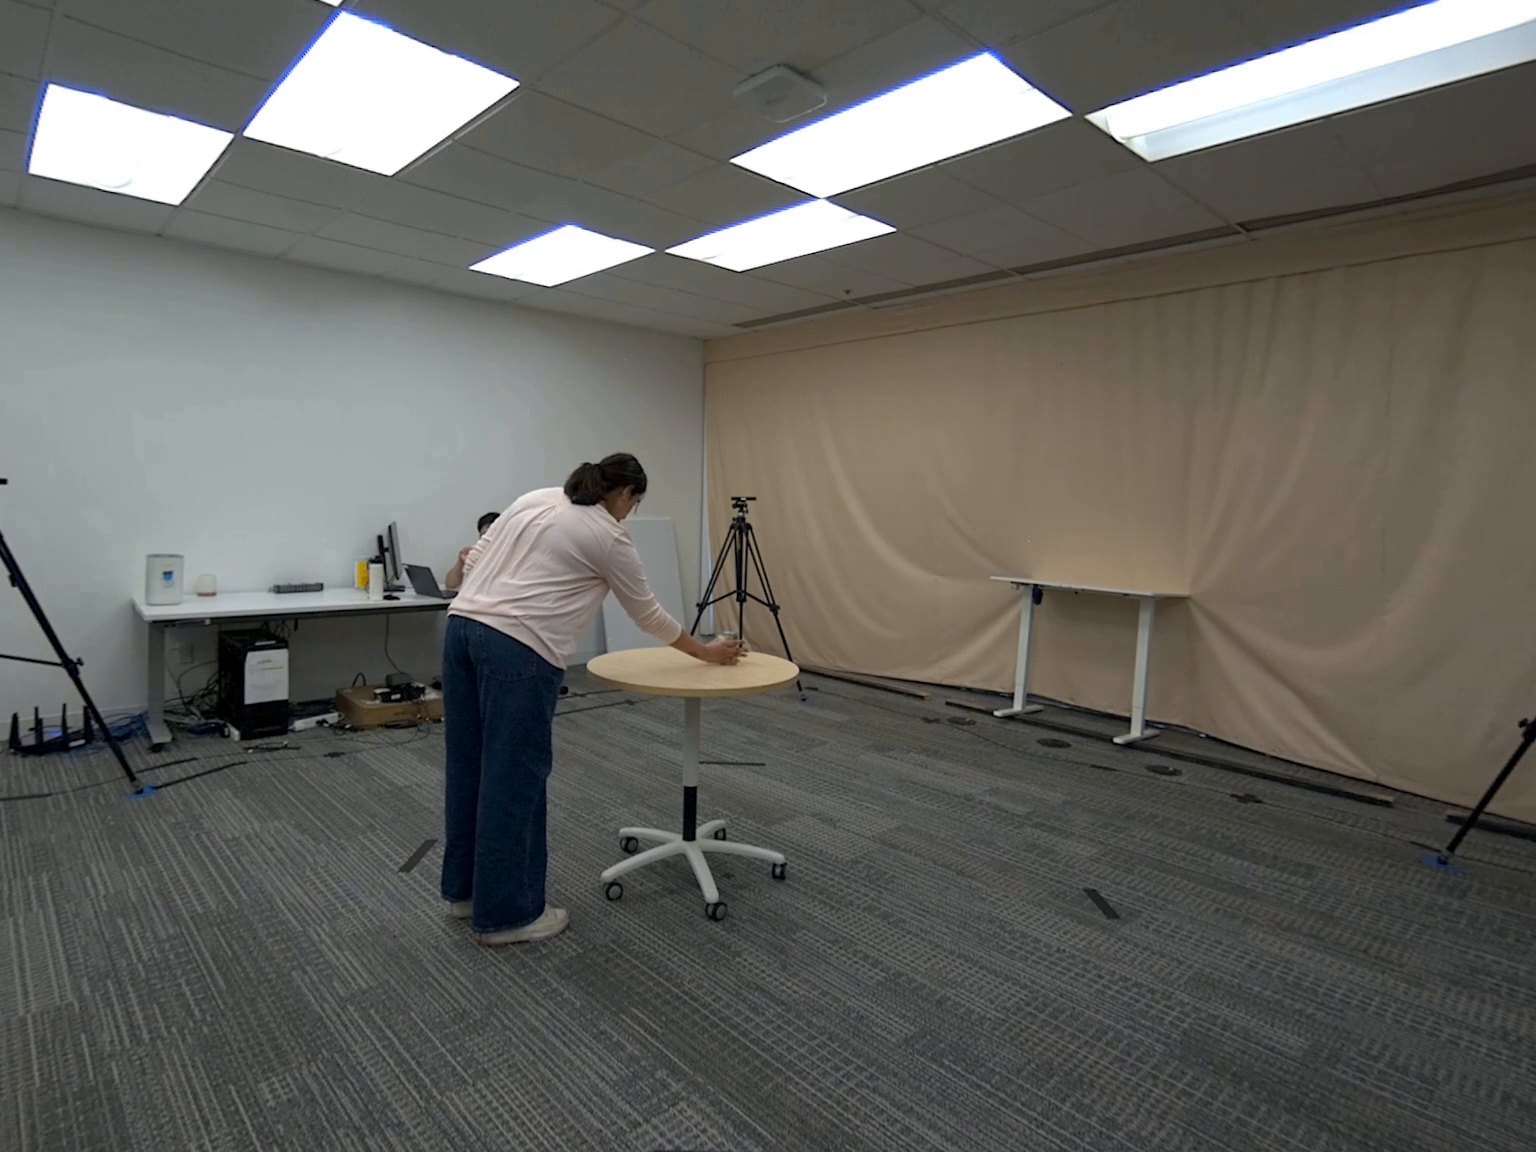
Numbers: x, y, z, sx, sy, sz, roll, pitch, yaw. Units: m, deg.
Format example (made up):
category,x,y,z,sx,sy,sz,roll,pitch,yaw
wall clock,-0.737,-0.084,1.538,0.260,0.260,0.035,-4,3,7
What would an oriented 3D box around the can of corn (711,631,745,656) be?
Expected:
category,x,y,z,sx,sy,sz,roll,pitch,yaw
can of corn,-0.156,0.268,3.104,0.074,0.111,0.074,1,5,-2
